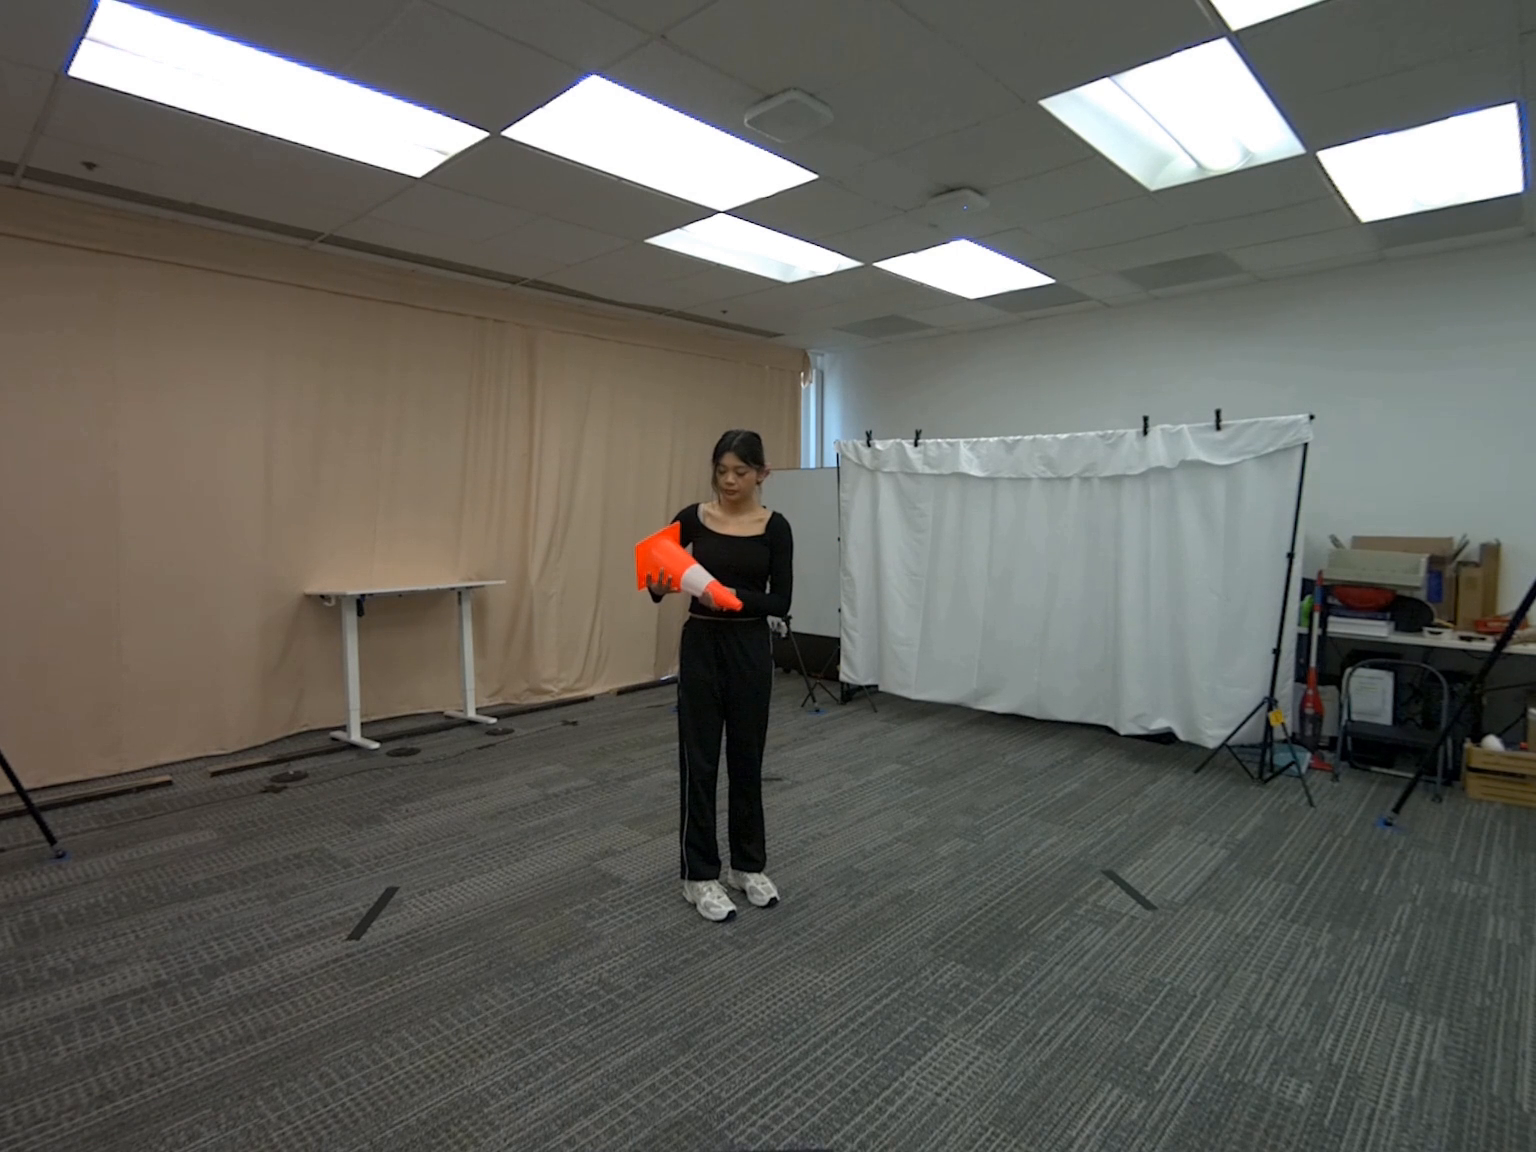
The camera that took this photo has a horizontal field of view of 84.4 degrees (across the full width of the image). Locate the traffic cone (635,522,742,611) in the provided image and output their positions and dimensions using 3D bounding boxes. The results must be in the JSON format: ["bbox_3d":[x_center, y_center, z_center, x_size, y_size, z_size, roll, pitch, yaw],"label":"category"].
[{"bbox_3d":[-0.228,0.025,2.765,0.396,0.200,0.201,31,45,30],"label":"traffic cone"}]
